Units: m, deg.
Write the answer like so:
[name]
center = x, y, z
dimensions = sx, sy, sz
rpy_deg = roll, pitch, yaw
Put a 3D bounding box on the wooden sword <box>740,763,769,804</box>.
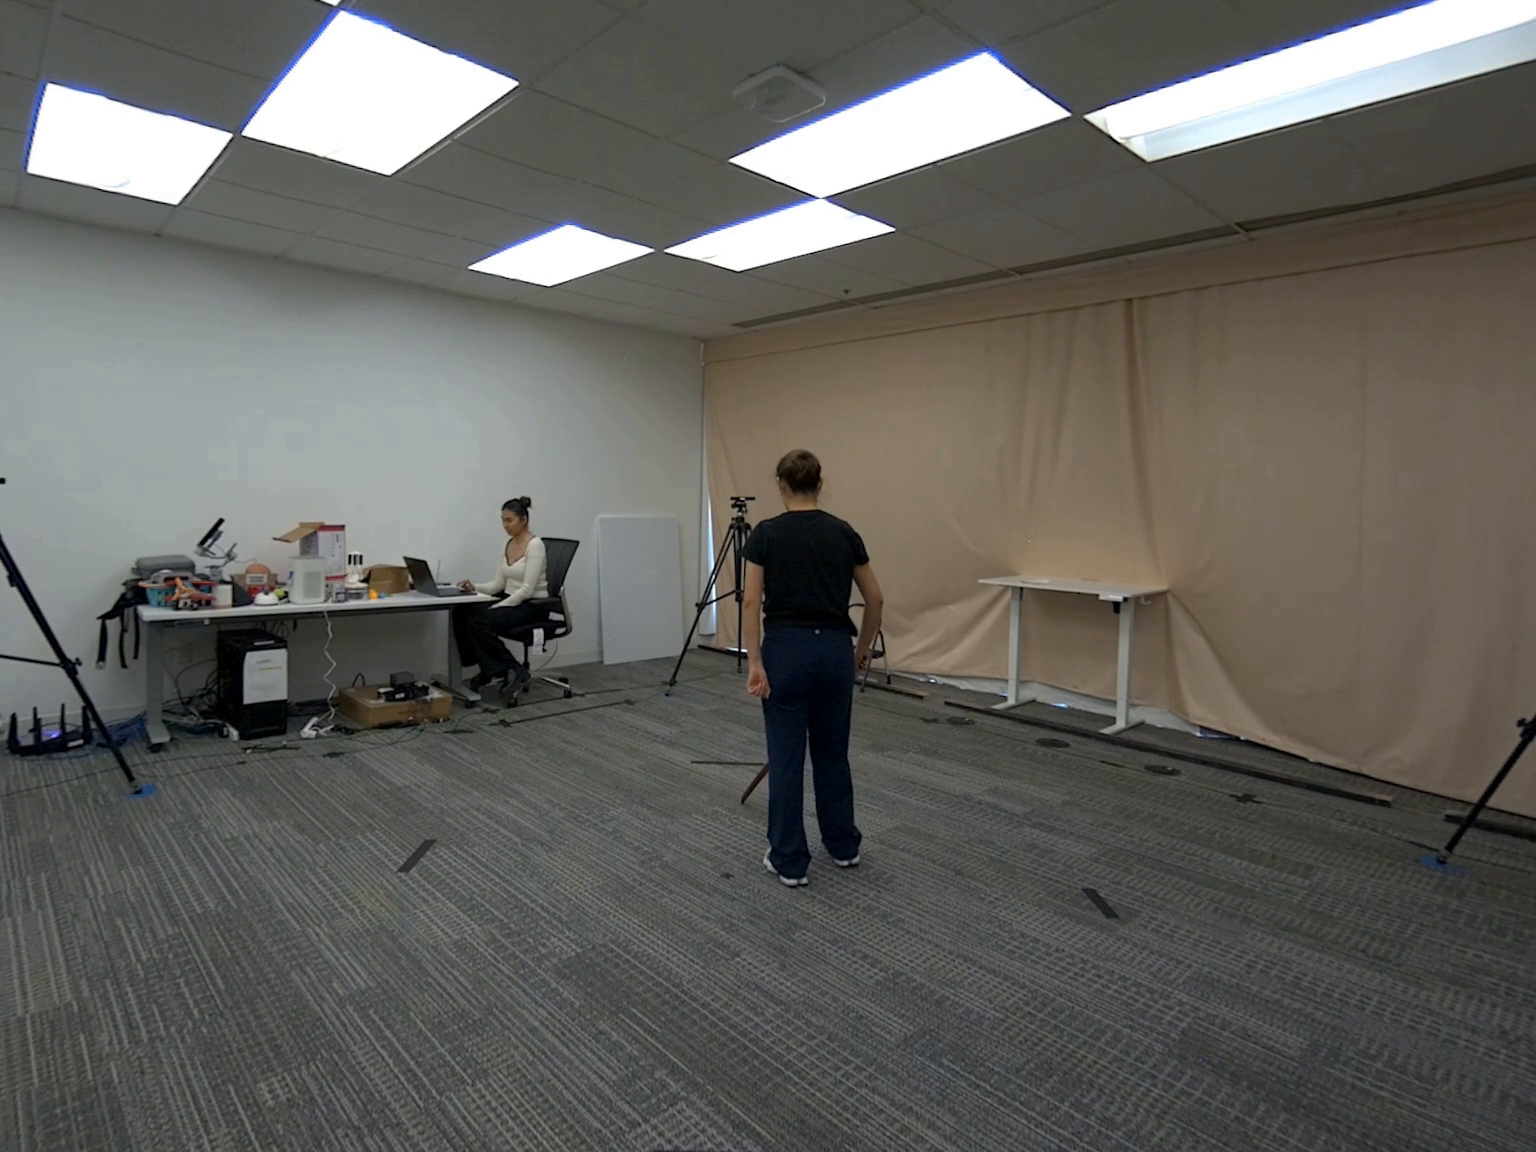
[wooden sword]
center = 0.115, 0.671, 3.582
dimensions = 0.023, 1.019, 0.053
rpy_deg = -5, 47, -47
